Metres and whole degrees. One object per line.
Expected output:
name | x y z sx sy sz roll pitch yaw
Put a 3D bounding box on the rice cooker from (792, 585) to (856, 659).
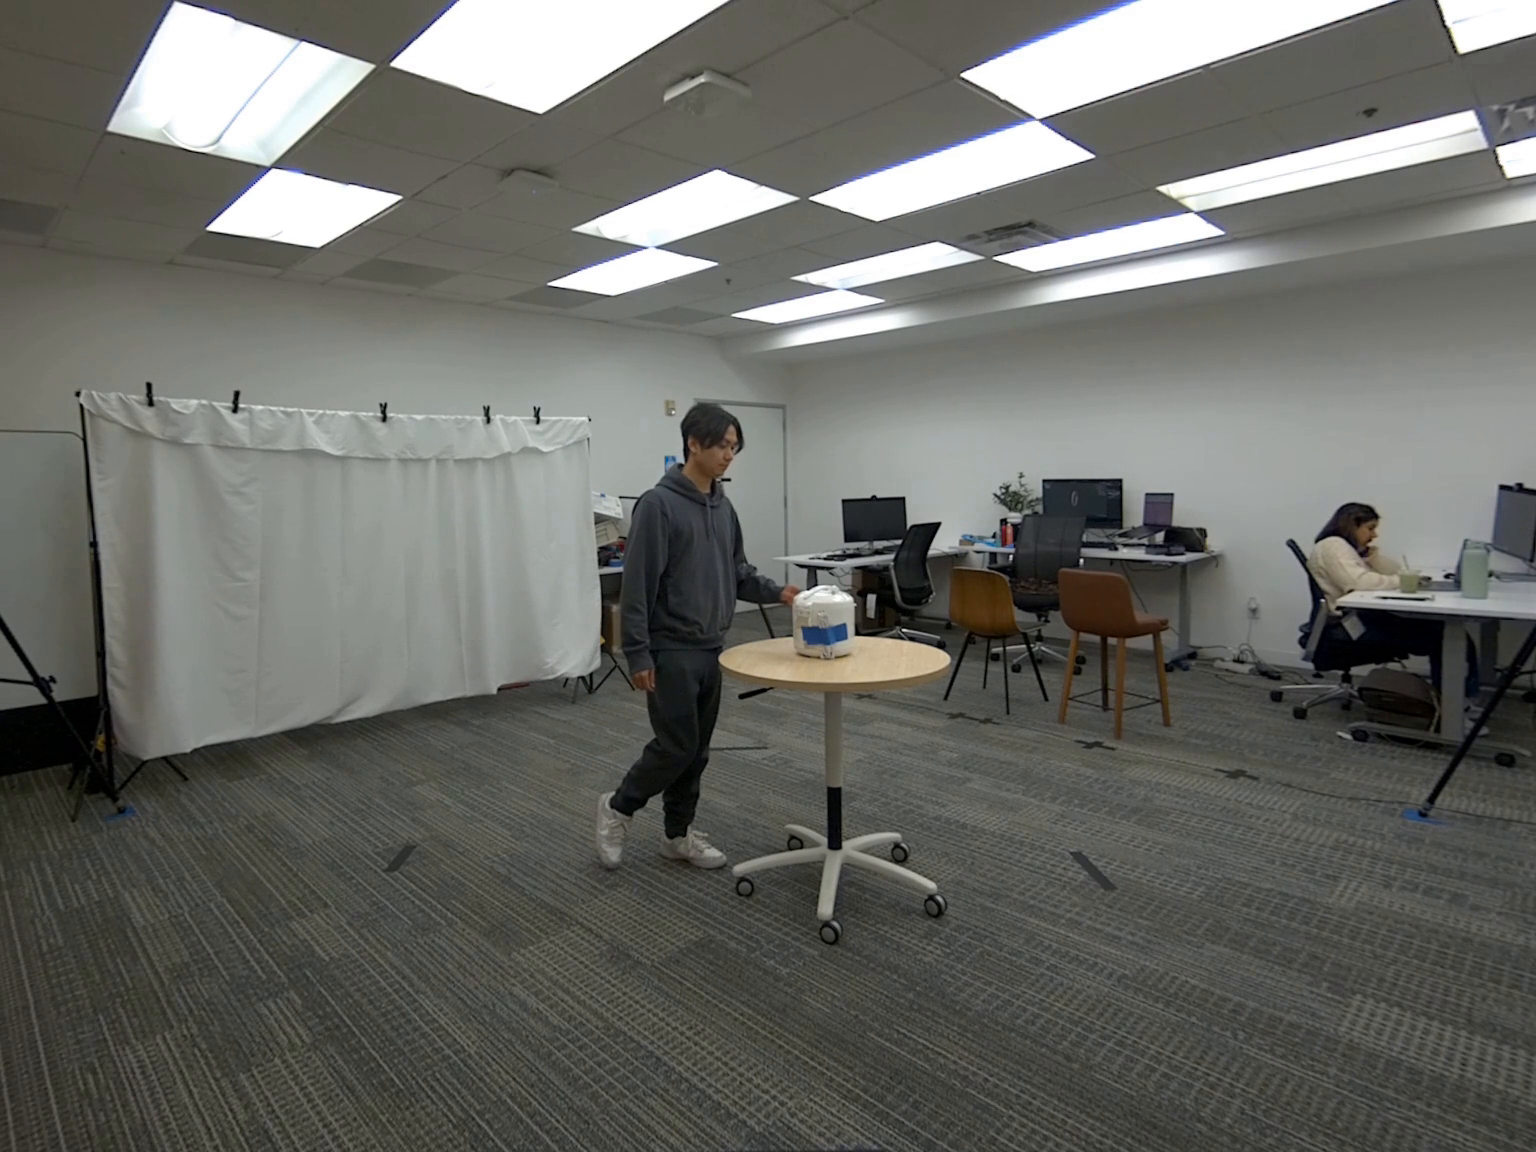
rice cooker | 0.186 0.150 2.893 0.215 0.232 0.224 -6 7 -44
